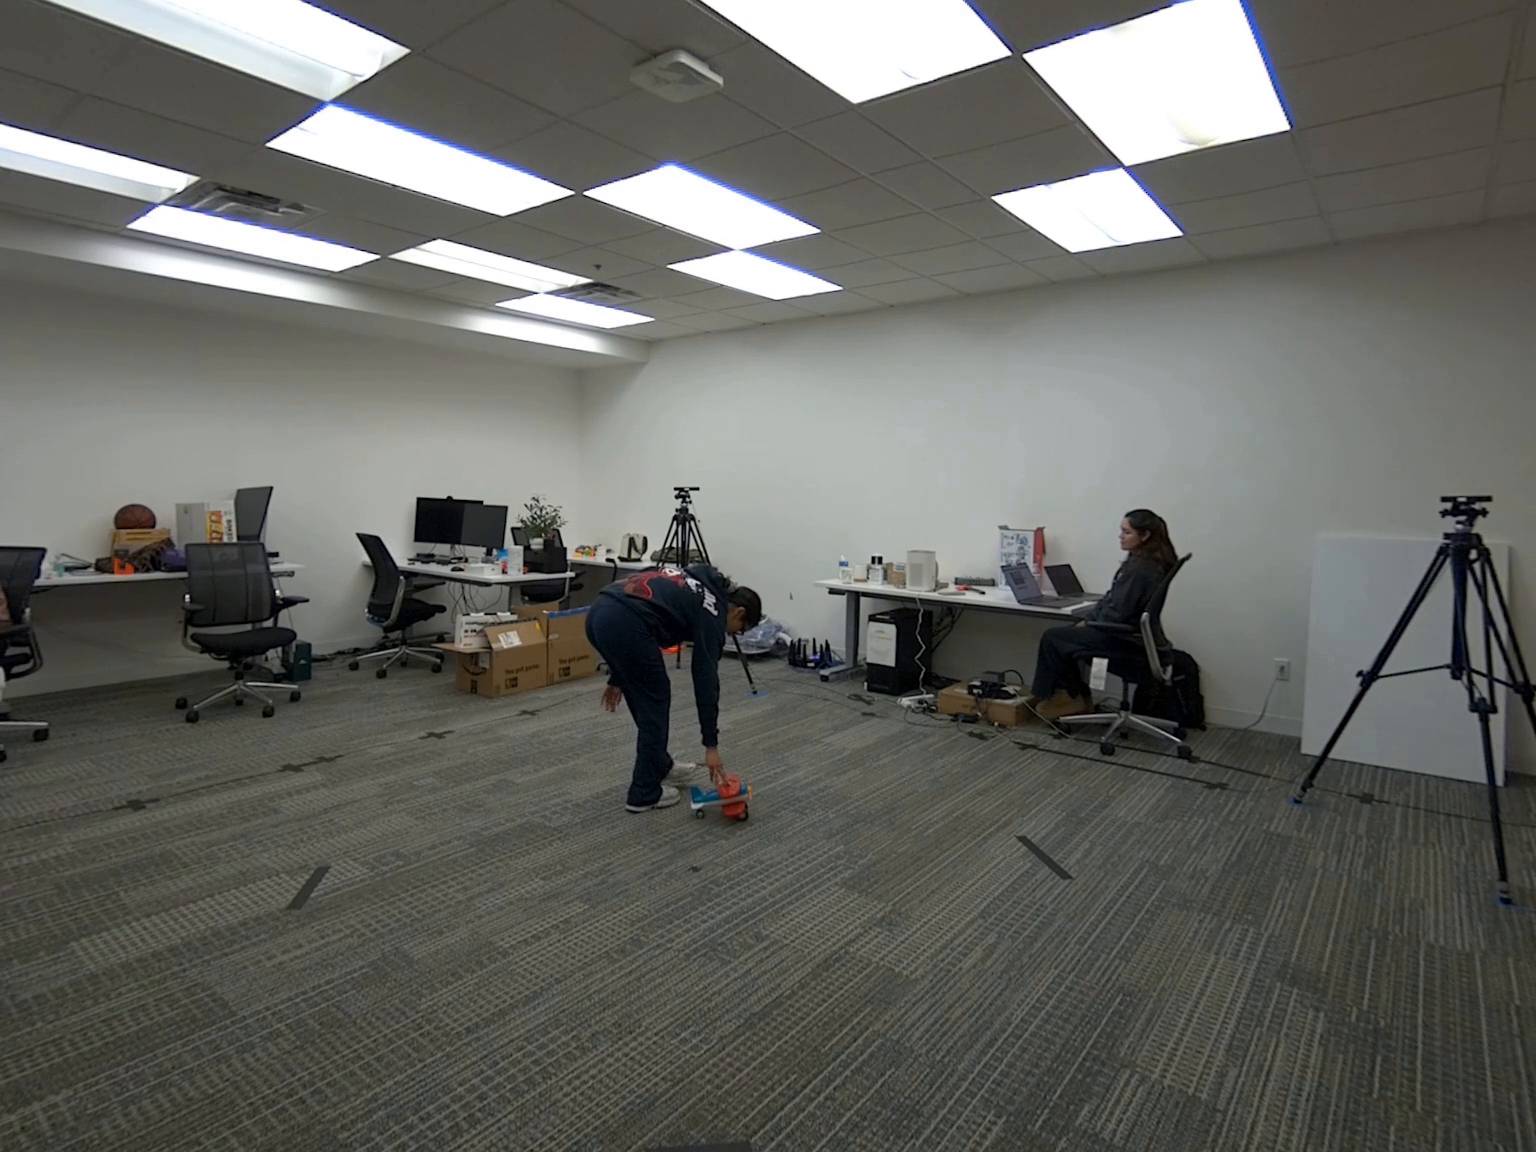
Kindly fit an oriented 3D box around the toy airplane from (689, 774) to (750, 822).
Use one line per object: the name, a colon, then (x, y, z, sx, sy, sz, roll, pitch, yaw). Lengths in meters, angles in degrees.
toy airplane: (-0.205, 0.946, 3.587, 0.252, 0.156, 0.259, -1, 5, -30)
